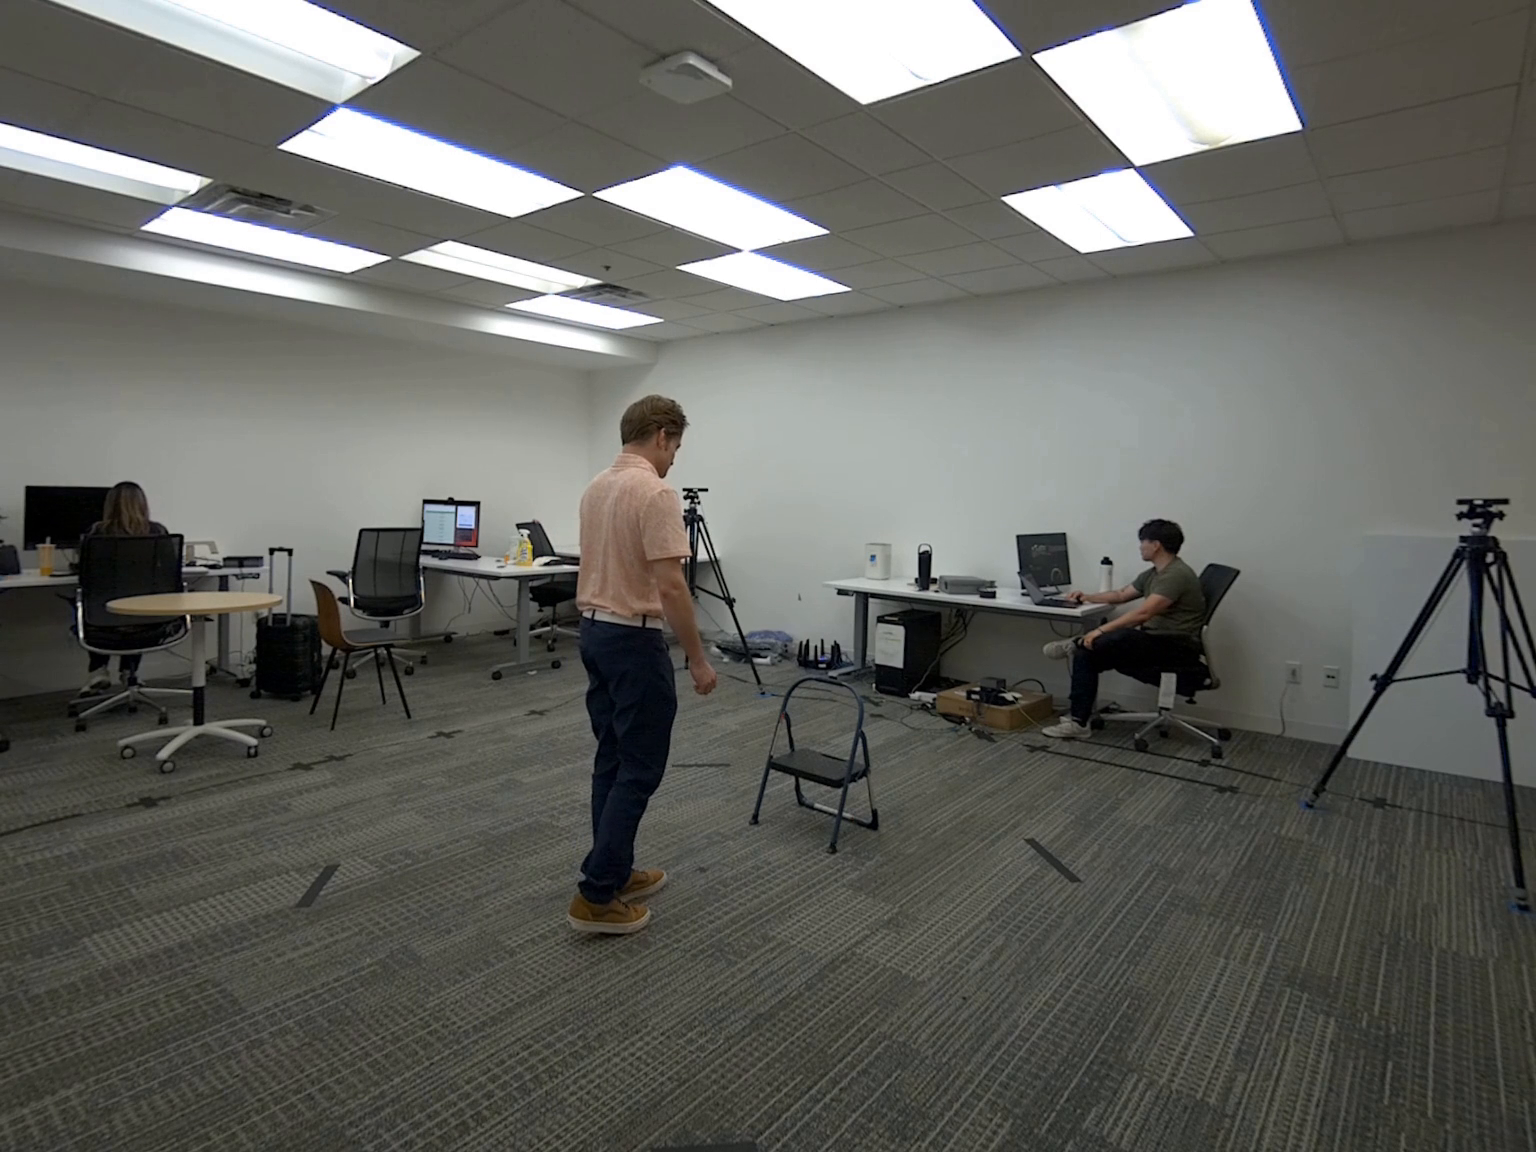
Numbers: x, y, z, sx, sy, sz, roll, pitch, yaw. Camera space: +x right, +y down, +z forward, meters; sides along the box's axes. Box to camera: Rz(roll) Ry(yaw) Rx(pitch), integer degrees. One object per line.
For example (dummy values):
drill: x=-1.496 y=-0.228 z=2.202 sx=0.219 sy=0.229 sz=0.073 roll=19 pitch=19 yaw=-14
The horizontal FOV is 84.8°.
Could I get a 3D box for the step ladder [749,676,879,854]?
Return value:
step ladder: x=0.192 y=0.735 z=3.520 sx=0.445 sy=0.604 sz=0.339 roll=5 pitch=5 yaw=40
